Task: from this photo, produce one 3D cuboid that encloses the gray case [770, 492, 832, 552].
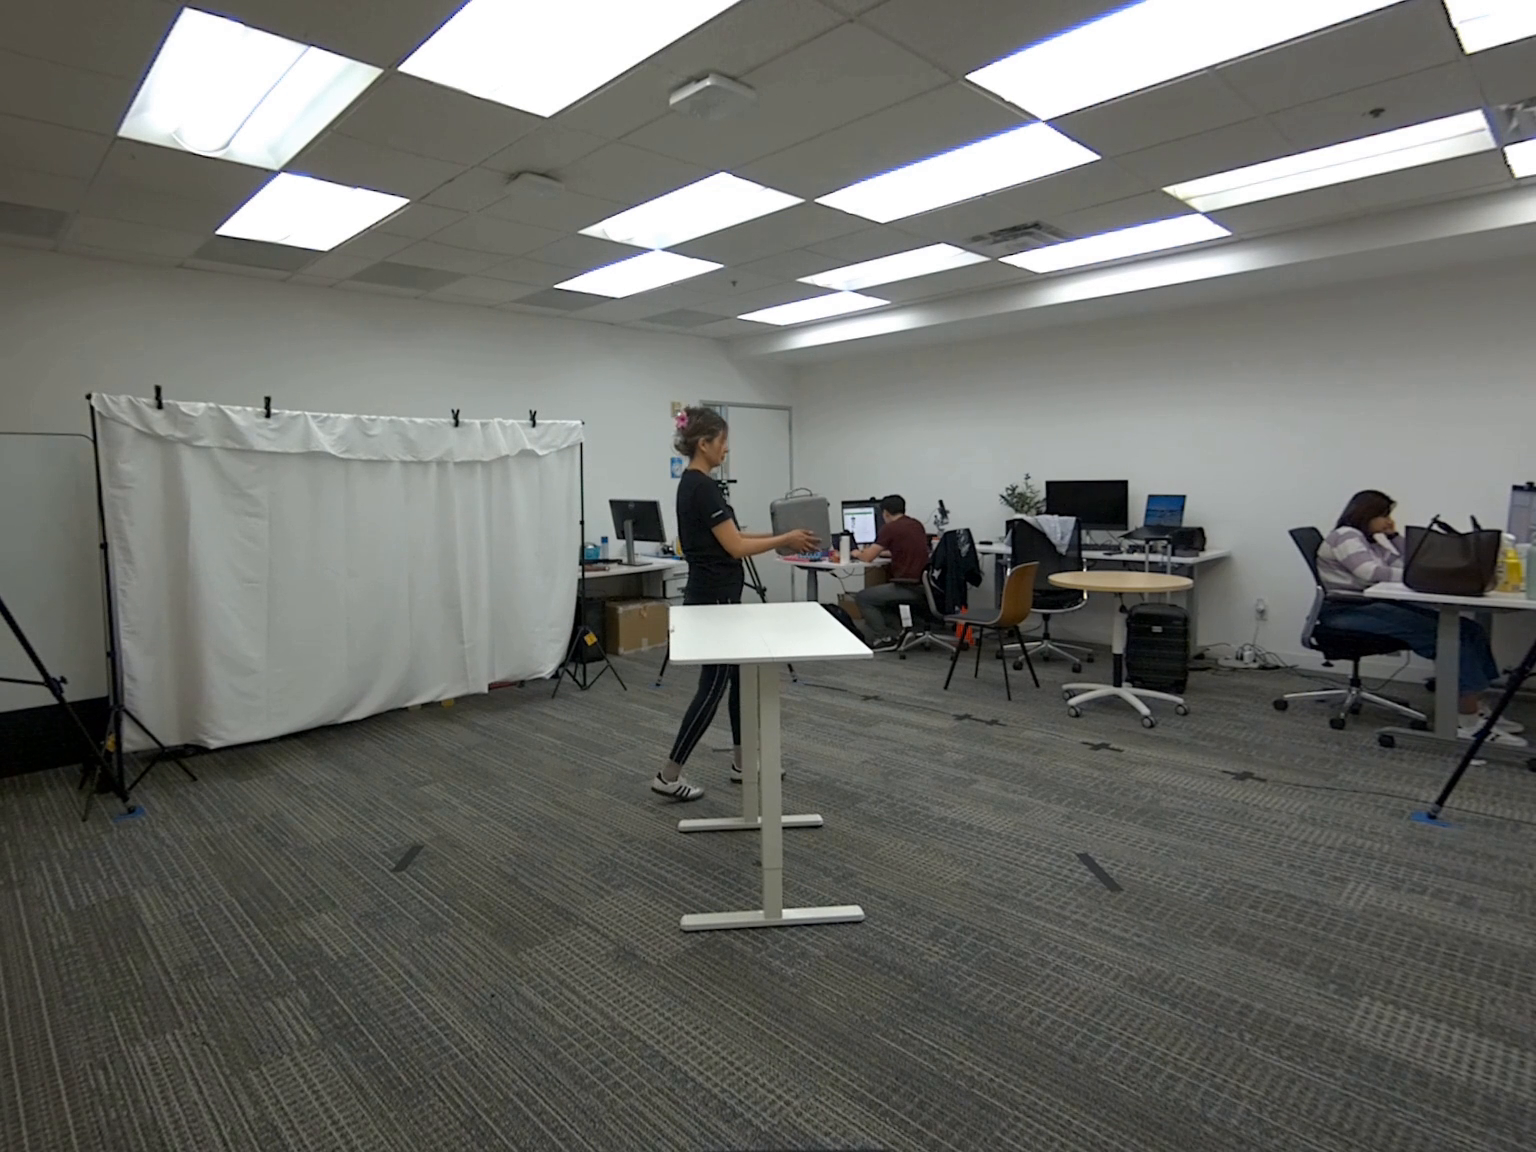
[{"bbox_3d":[0.146,-0.234,3.833,0.255,0.257,0.106,-10,13,-8],"label":"gray case"}]
